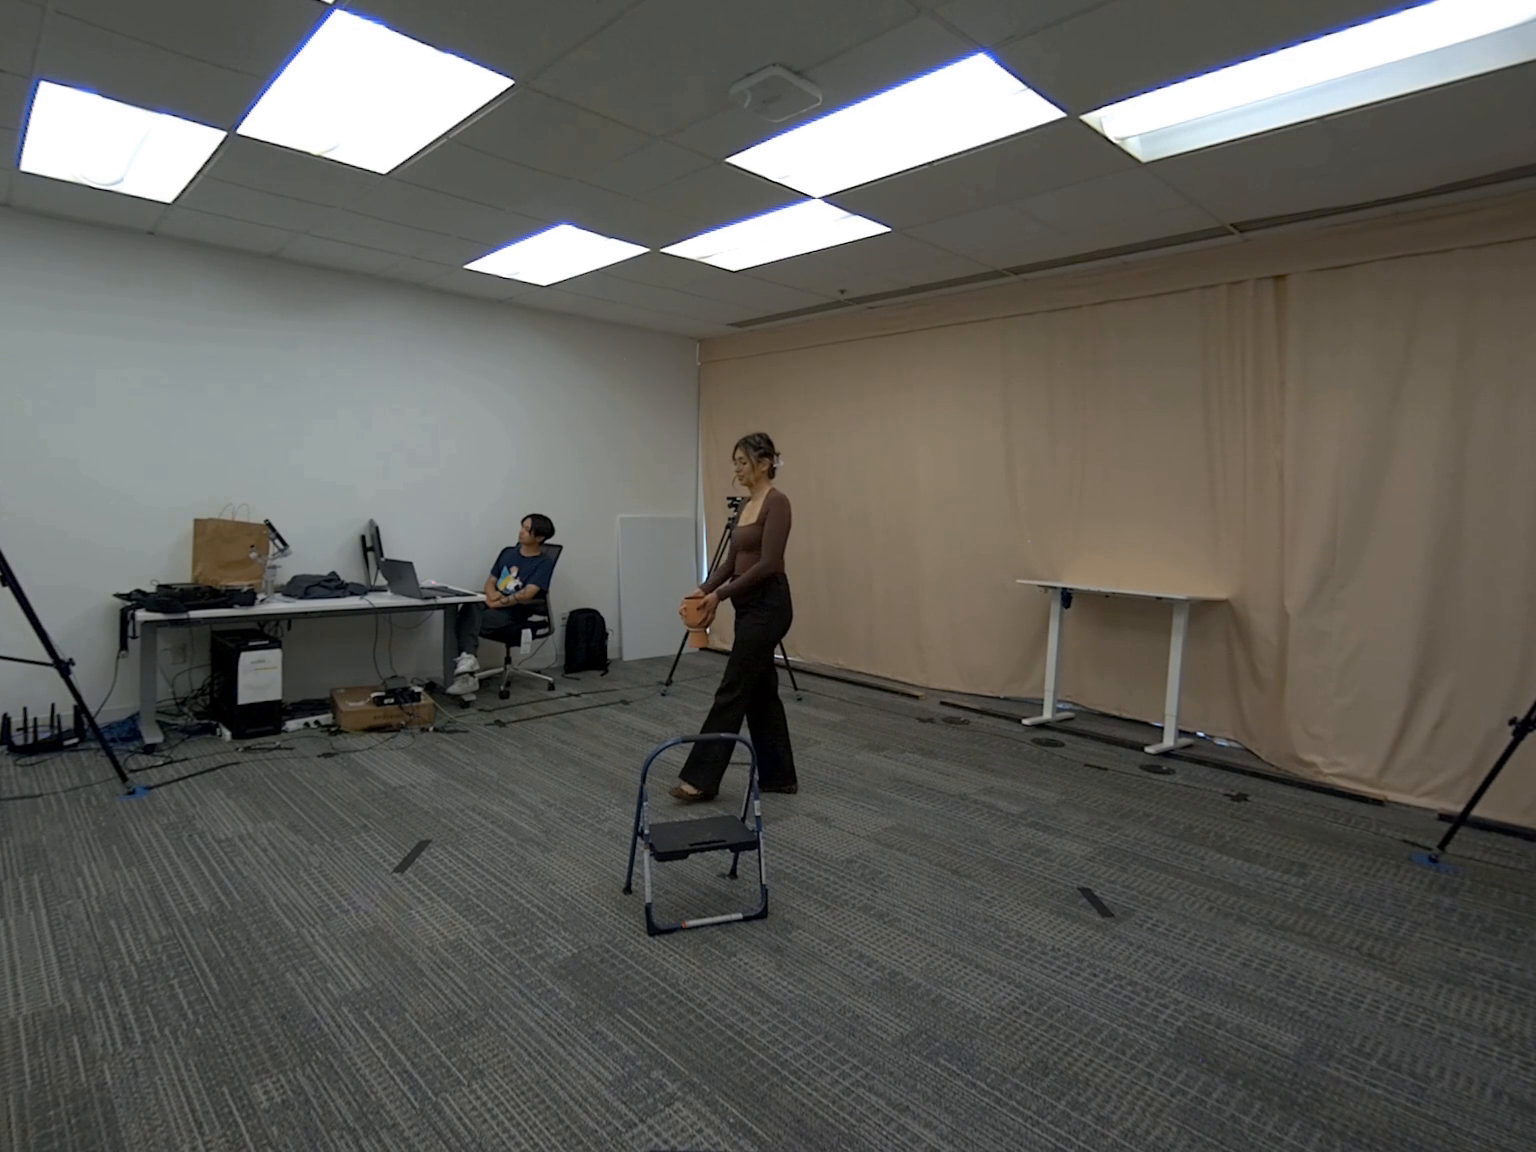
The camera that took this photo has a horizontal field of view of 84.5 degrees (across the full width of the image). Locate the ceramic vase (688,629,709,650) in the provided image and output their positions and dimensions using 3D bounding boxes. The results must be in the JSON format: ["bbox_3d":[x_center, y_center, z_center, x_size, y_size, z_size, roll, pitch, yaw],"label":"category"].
[{"bbox_3d":[-0.322,0.207,3.816,0.158,0.219,0.135,-3,3,-4],"label":"ceramic vase"}]
